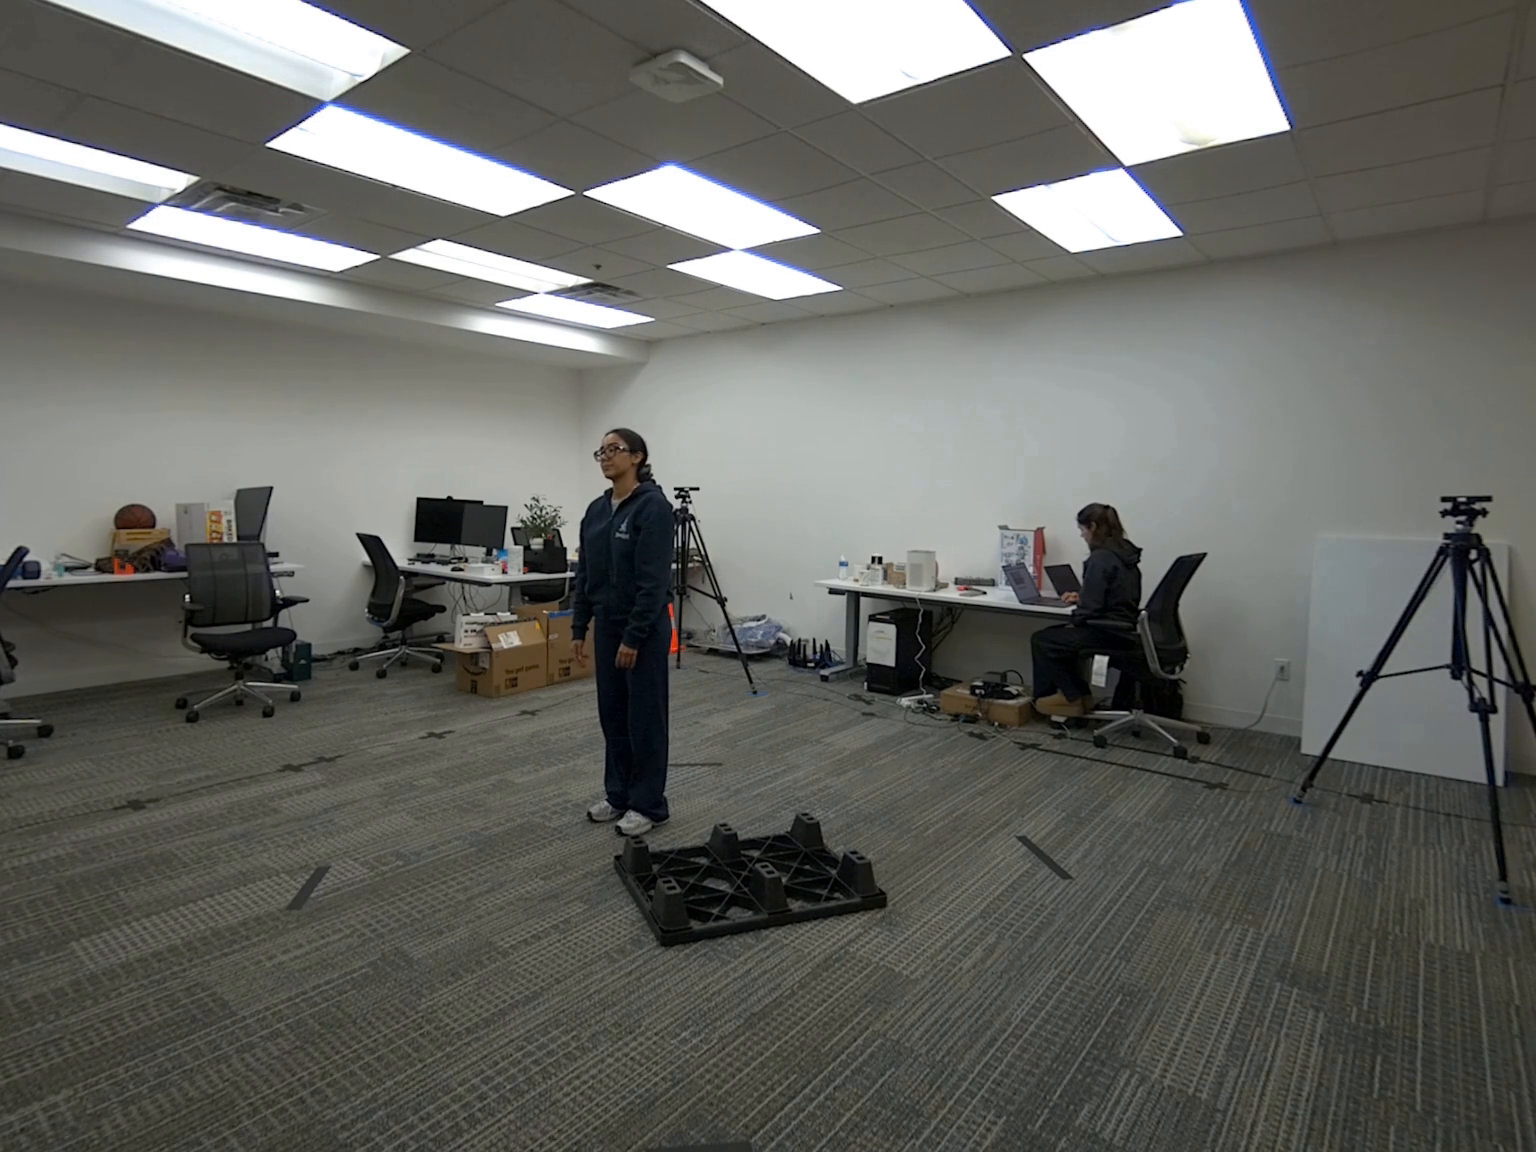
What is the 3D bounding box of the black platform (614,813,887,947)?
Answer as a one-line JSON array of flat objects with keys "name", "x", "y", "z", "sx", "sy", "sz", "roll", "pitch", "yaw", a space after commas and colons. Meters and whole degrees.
[{"name": "black platform", "x": -0.087, "y": 1.010, "z": 2.981, "sx": 0.787, "sy": 0.143, "sz": 0.621, "roll": -1, "pitch": 6, "yaw": -23}]
